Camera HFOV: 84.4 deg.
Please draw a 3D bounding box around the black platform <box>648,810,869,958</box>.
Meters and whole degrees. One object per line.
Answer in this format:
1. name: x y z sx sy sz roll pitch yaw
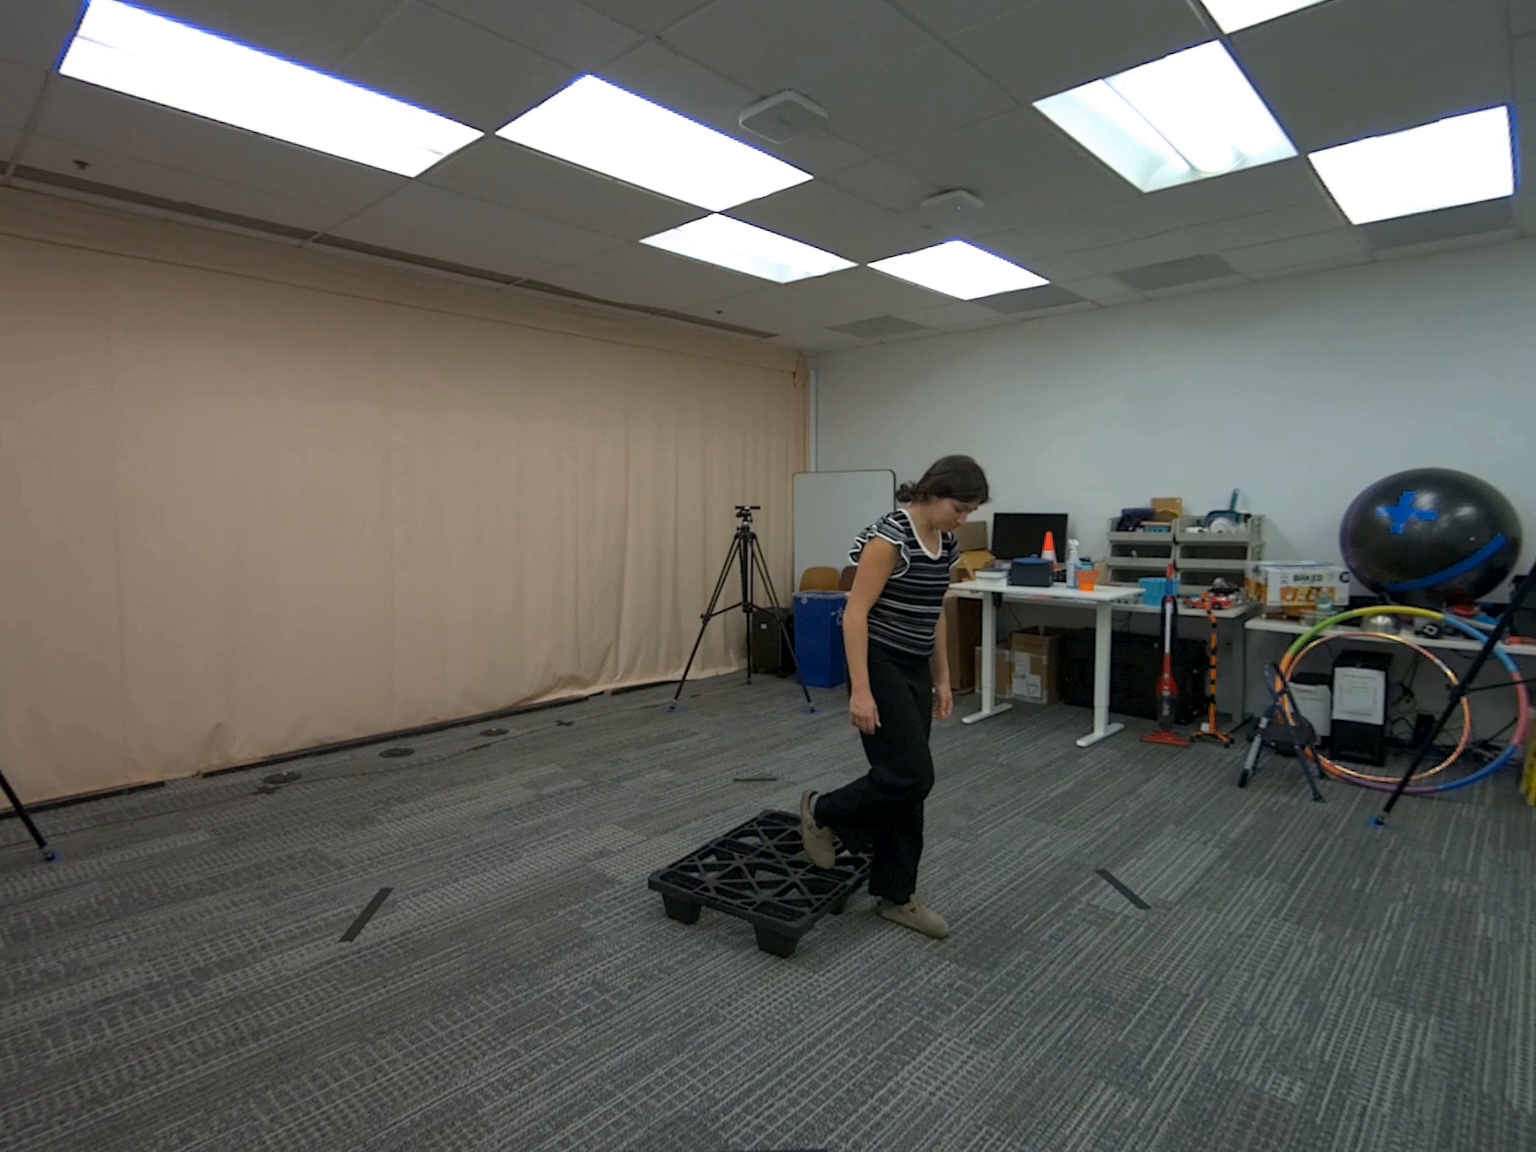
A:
1. black platform: 0.055 1.074 3.012 0.624 0.143 0.783 4 6 33
